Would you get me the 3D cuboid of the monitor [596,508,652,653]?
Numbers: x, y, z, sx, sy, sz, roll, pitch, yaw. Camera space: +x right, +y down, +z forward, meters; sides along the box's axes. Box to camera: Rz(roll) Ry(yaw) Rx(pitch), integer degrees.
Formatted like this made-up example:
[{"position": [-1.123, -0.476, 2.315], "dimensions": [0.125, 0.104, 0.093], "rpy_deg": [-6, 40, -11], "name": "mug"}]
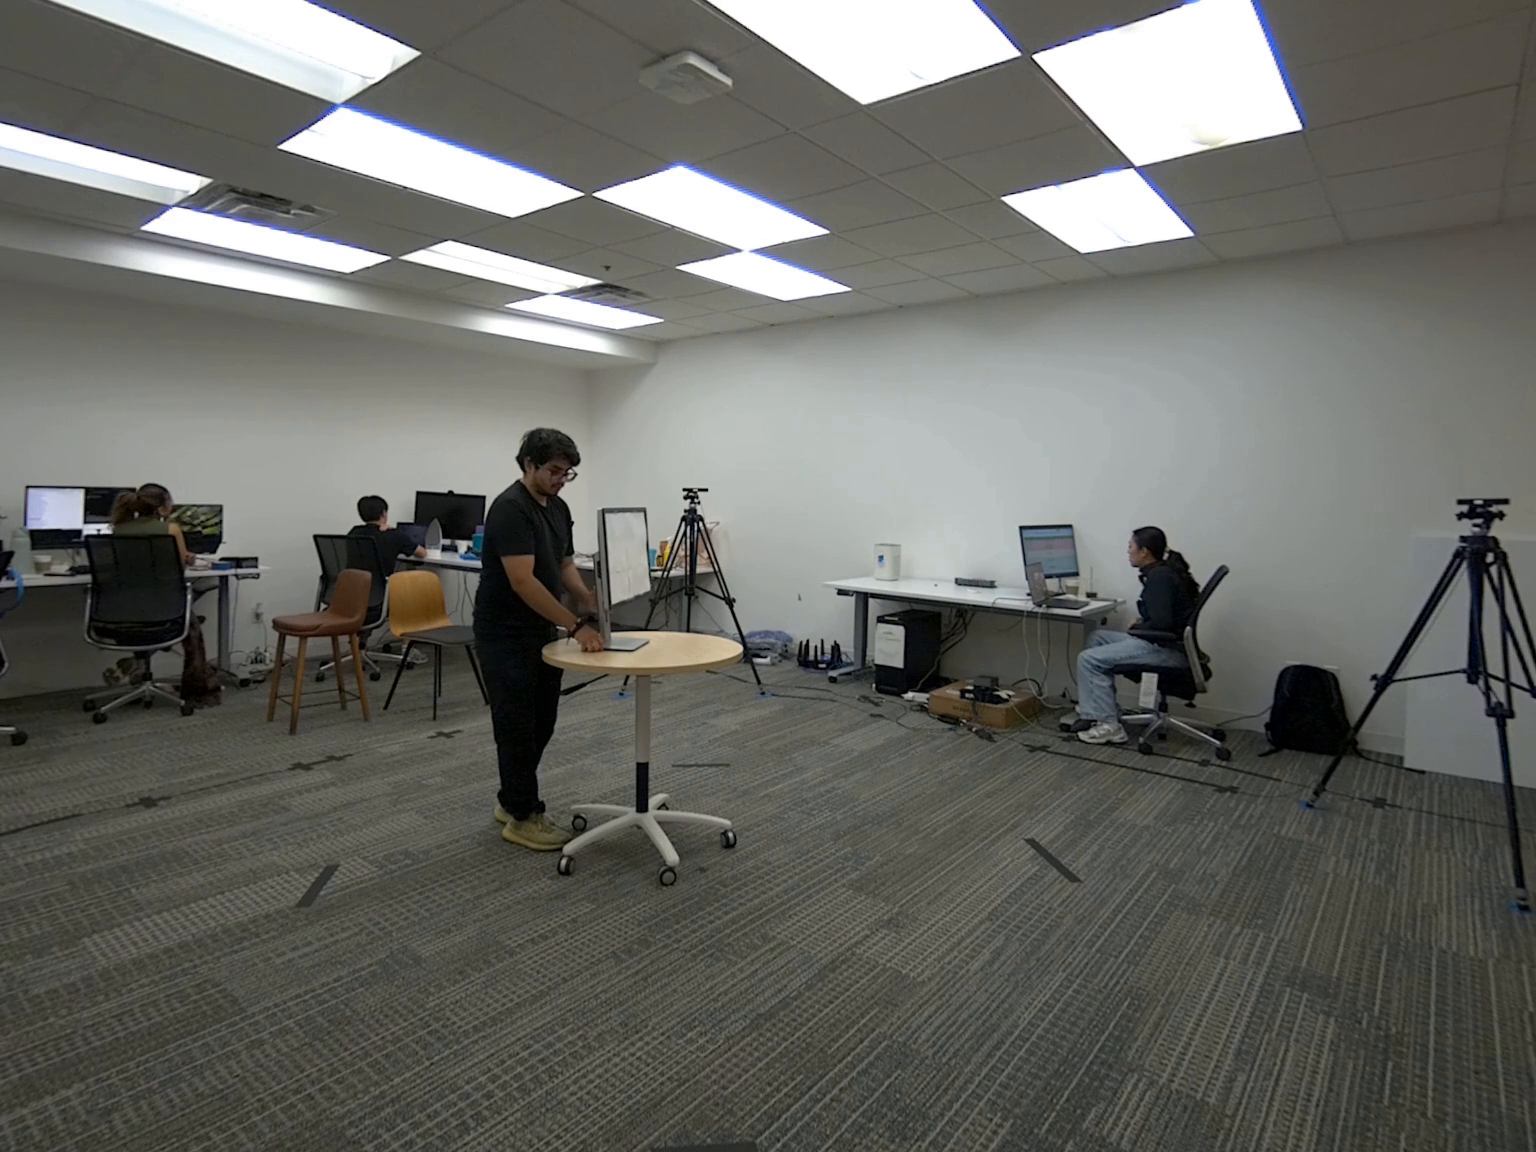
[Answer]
[{"position": [-0.623, 0.007, 3.300], "dimensions": [0.212, 0.553, 0.561], "rpy_deg": [-1, 3, 8], "name": "monitor"}]
